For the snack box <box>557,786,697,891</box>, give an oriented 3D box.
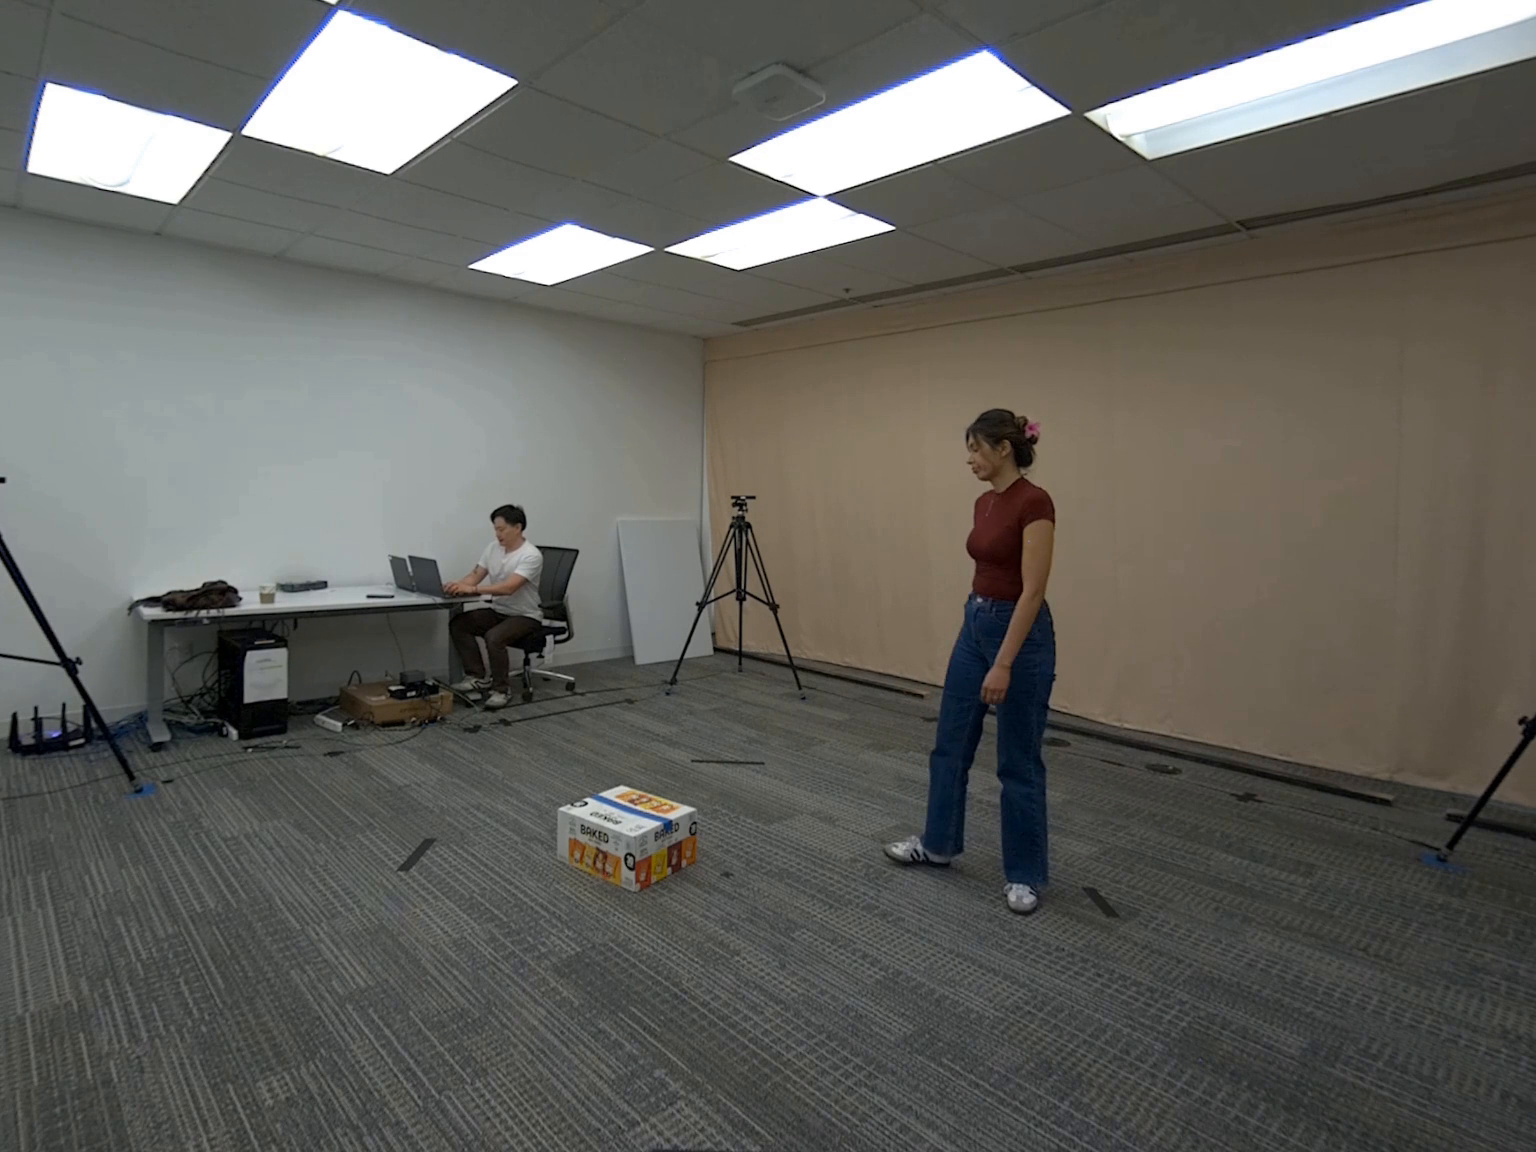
[{"bbox_3d":[-0.535,0.978,3.193,0.415,0.205,0.333,5,5,36],"label":"snack box"}]
